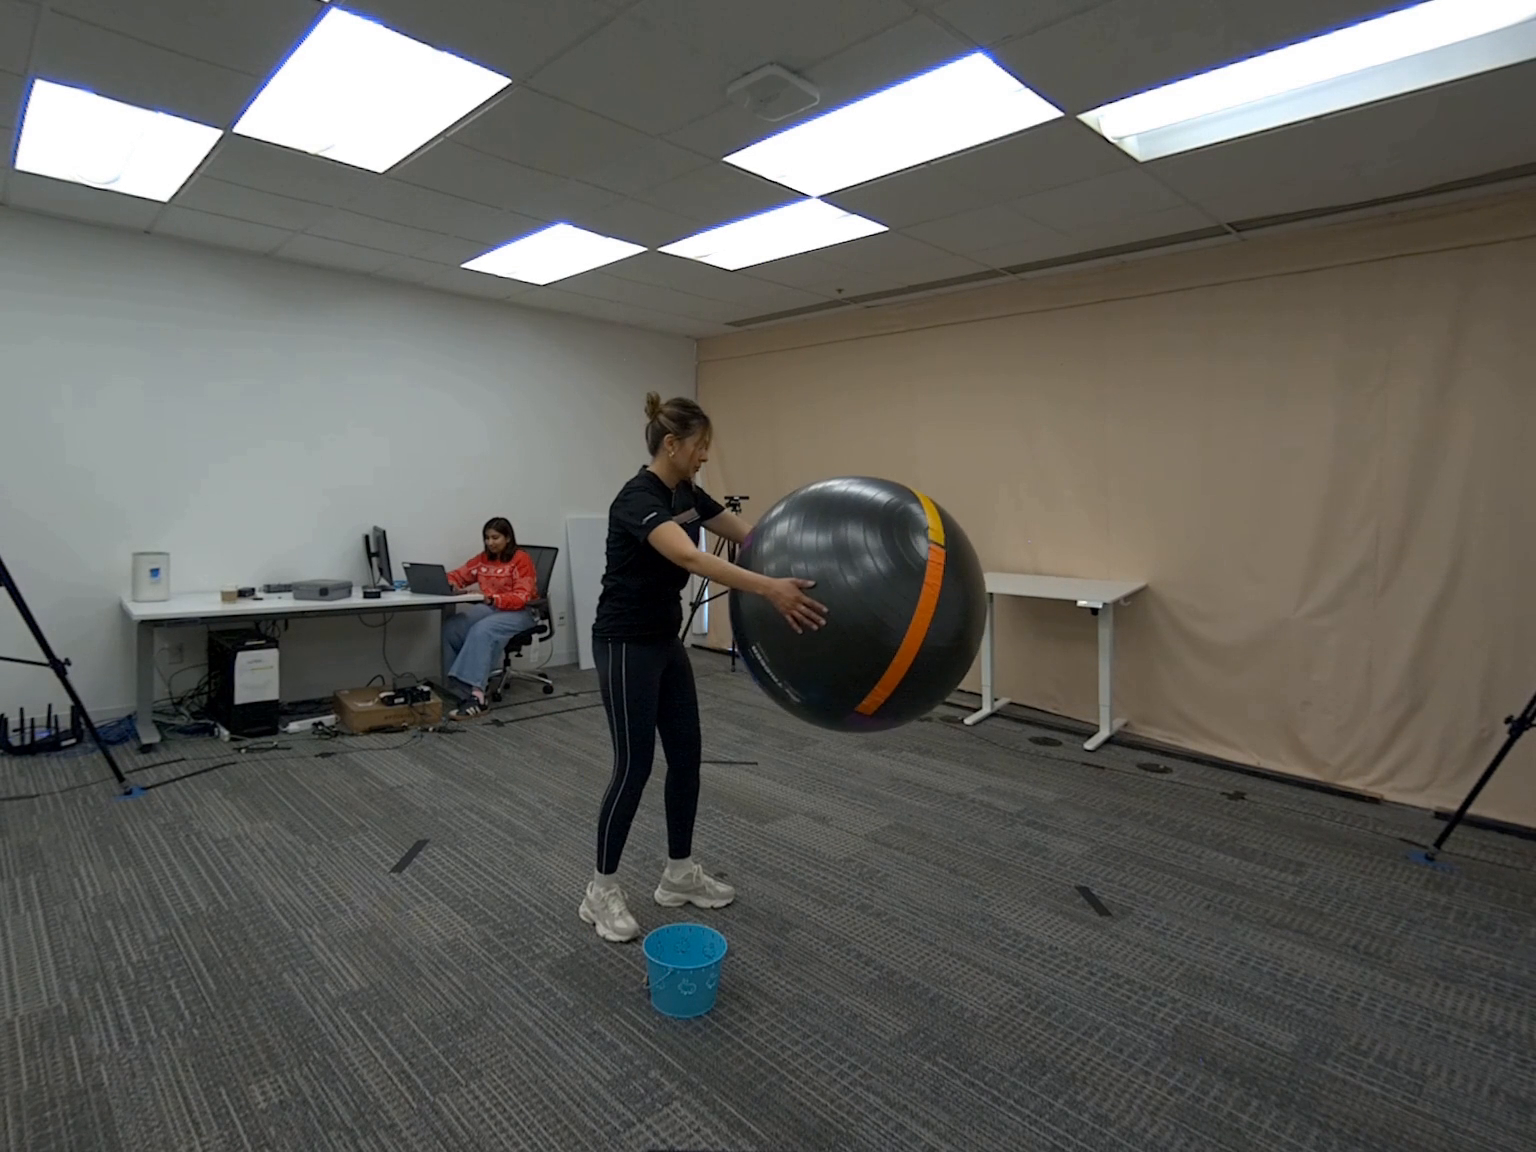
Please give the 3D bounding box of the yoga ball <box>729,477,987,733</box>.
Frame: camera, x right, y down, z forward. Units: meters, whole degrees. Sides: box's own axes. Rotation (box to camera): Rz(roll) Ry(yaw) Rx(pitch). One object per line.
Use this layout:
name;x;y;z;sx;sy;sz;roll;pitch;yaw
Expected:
yoga ball;0.255;0.095;2.501;0.757;0.756;0.761;1;4;-1
